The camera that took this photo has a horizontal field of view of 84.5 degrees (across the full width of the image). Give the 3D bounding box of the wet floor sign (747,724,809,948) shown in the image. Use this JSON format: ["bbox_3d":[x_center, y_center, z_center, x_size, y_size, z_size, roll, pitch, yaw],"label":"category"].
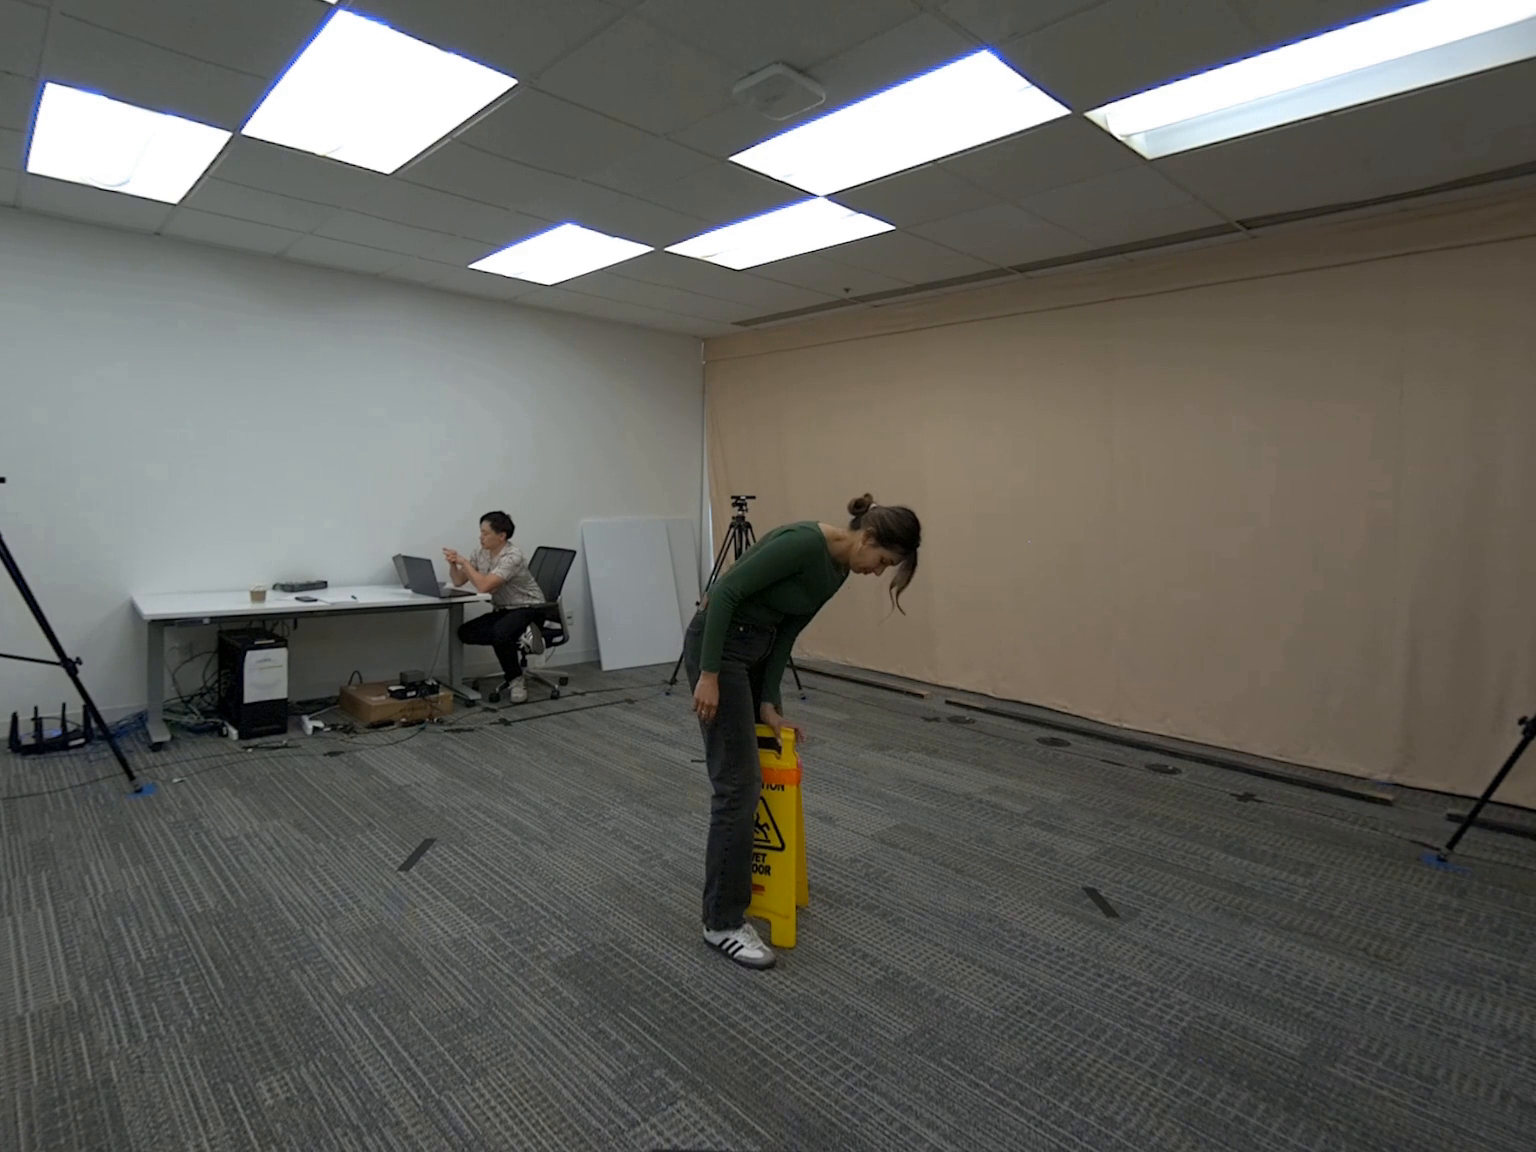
[{"bbox_3d":[-0.016,0.814,2.761,0.285,0.645,0.287,2,2,11],"label":"wet floor sign"}]
